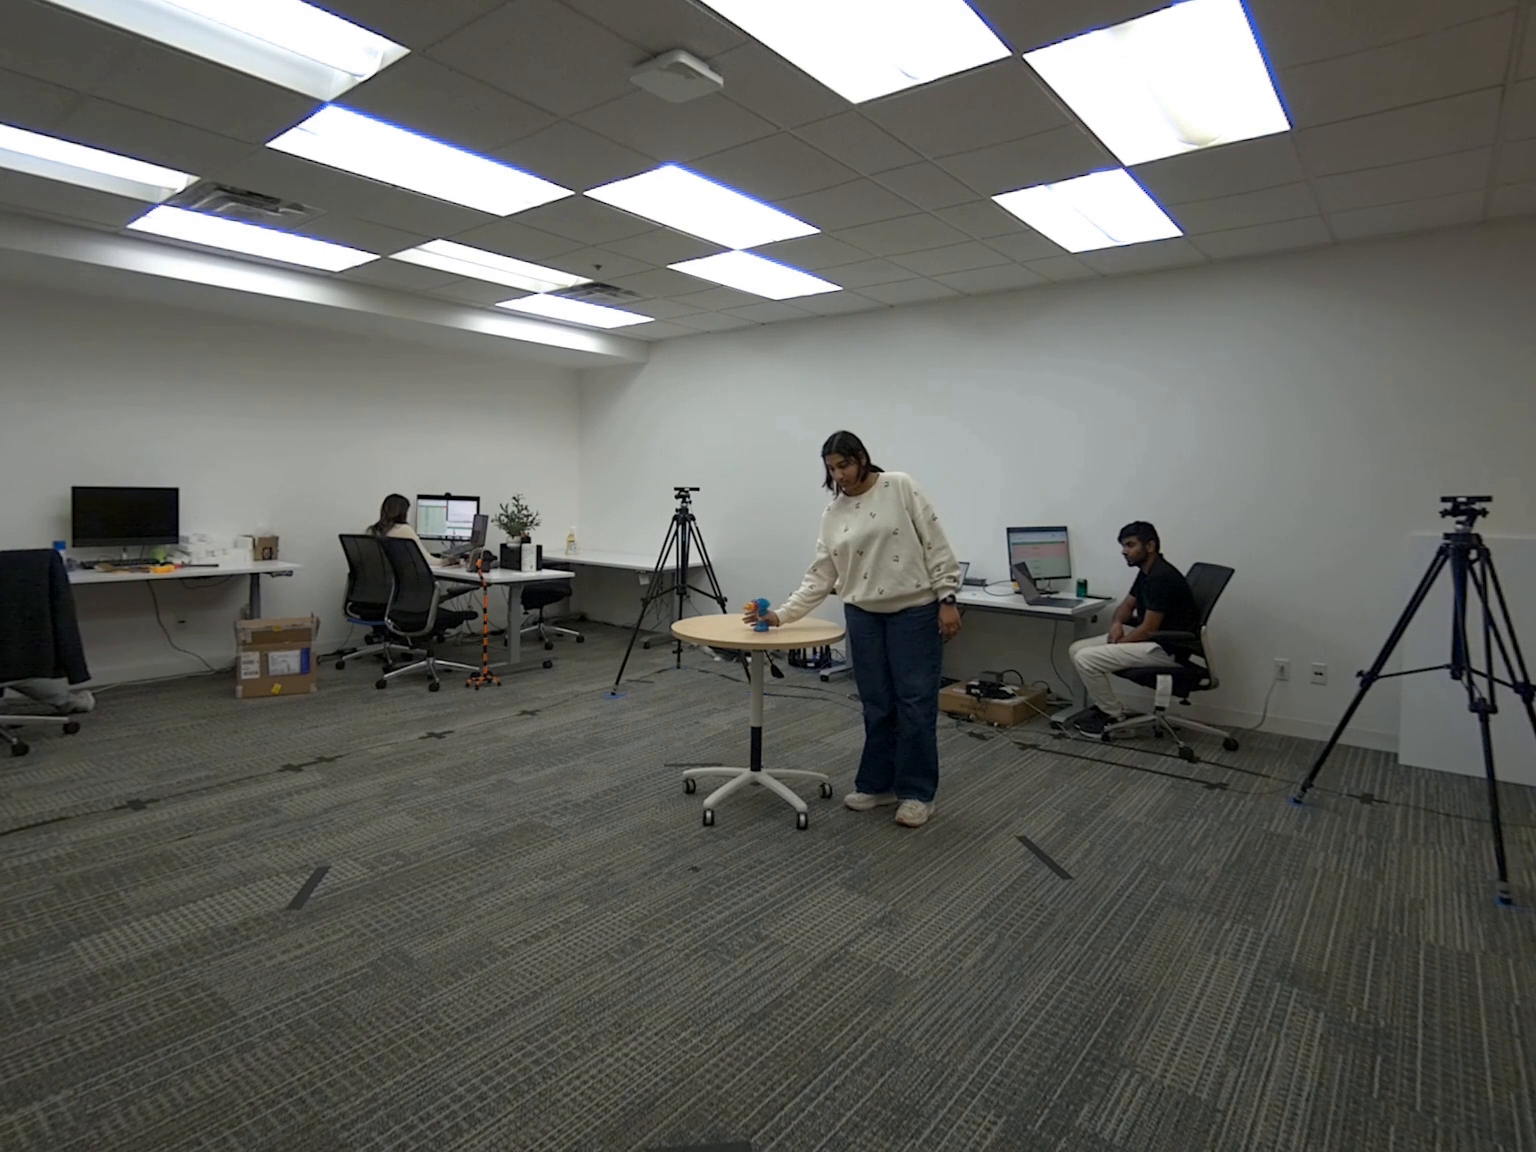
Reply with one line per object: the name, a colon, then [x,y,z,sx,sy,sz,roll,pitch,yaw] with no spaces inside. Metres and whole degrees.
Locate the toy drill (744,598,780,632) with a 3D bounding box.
toy drill: [-0.064,0.162,3.634,0.063,0.145,0.165,4,5,40]
